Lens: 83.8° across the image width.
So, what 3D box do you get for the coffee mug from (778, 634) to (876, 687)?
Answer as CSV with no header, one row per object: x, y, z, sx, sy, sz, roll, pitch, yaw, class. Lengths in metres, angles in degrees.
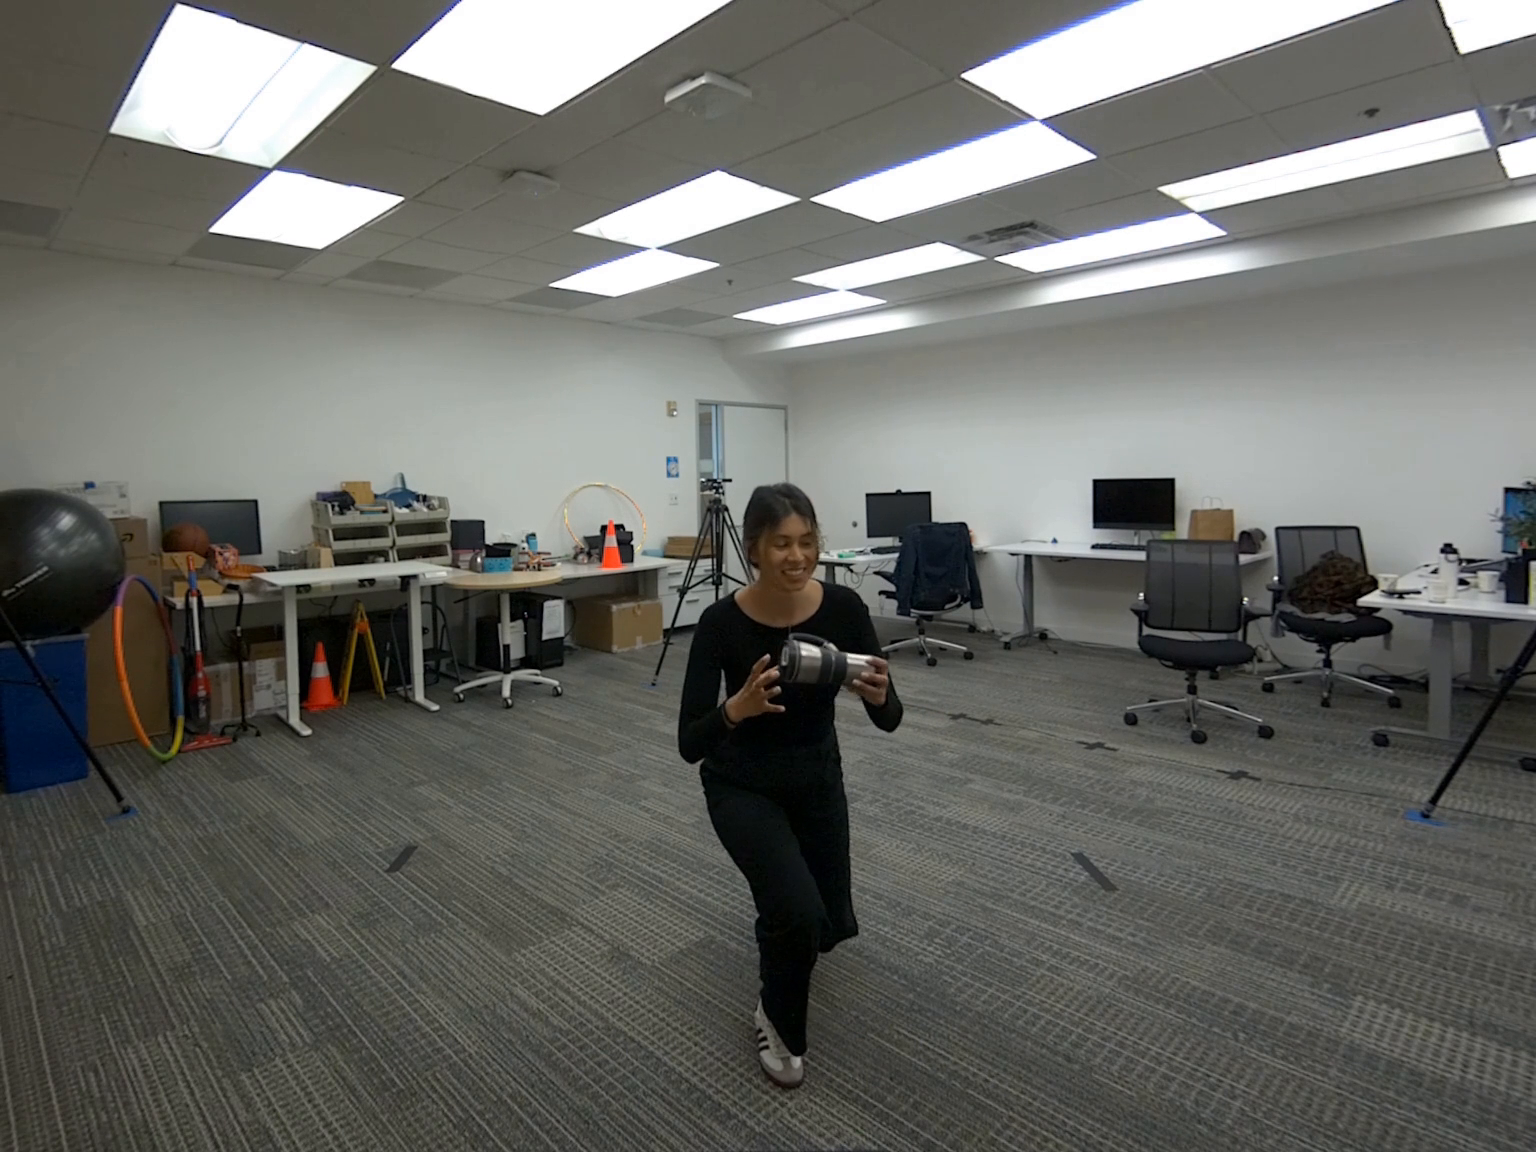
0.134,0.183,1.805,0.200,0.125,0.086,3,-39,-12,coffee mug
